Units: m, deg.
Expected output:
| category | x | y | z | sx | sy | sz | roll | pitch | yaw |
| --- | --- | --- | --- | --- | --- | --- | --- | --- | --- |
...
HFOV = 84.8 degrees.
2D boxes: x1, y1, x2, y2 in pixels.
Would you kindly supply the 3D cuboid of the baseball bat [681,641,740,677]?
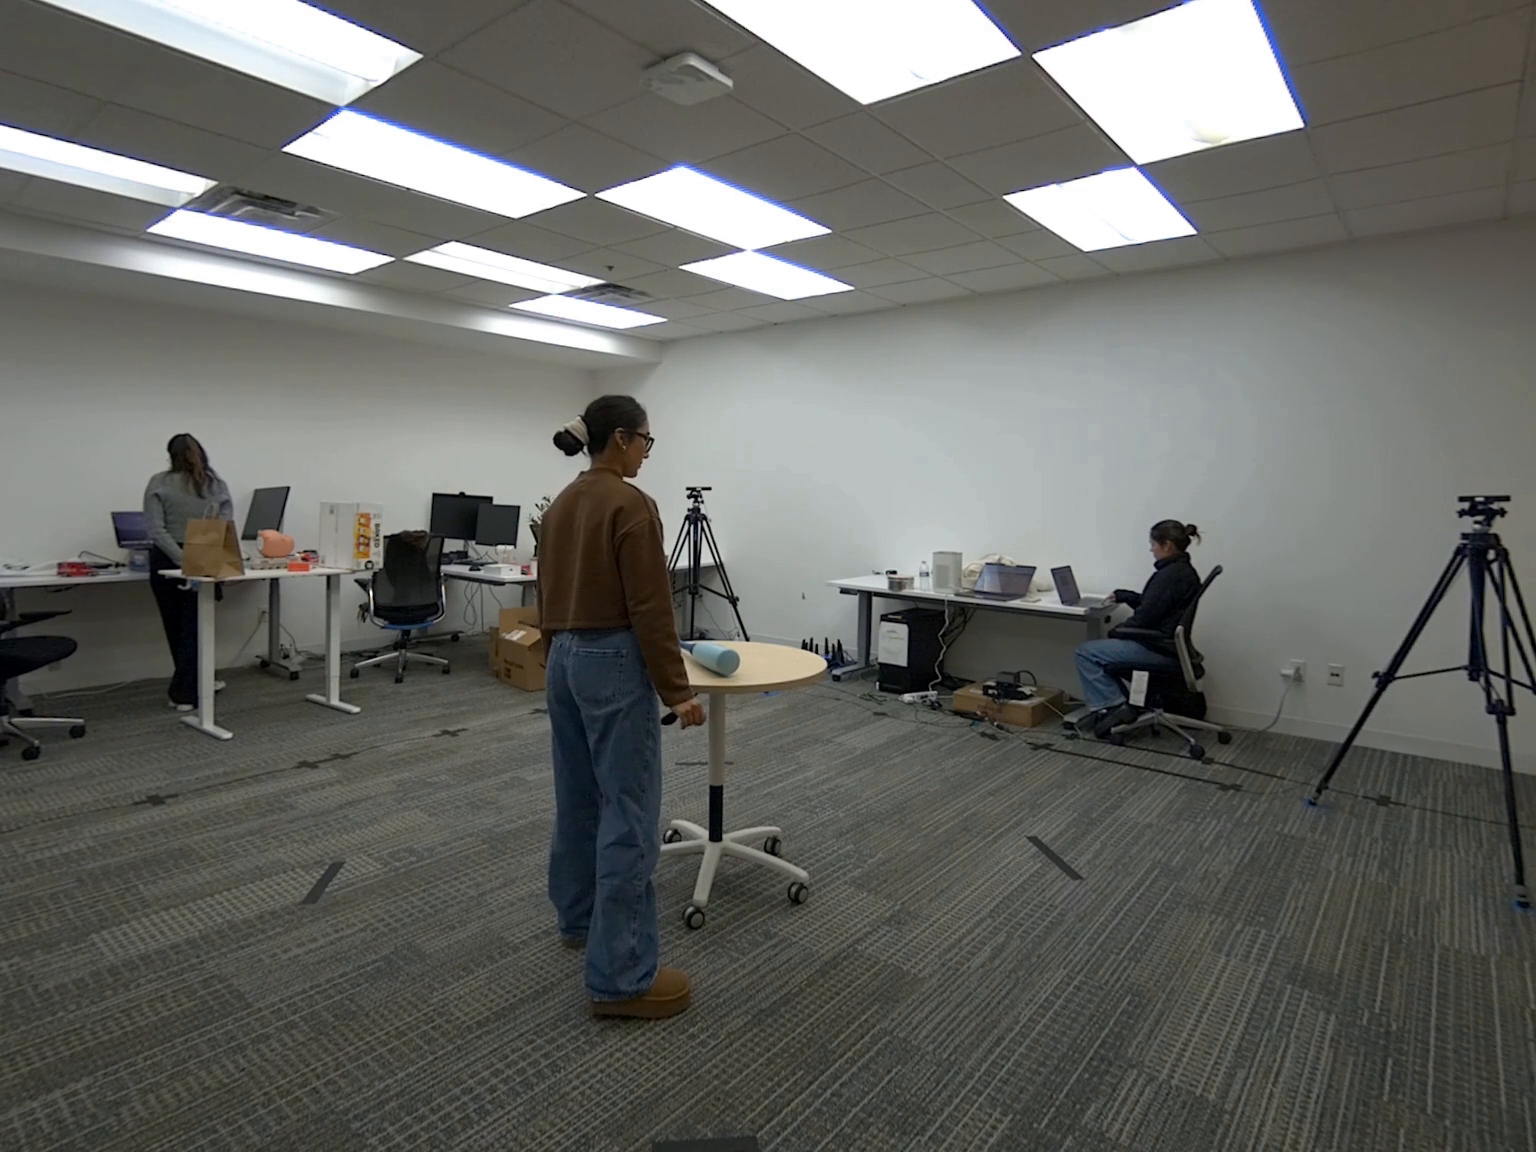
| category | x | y | z | sx | sy | sz | roll | pitch | yaw |
| --- | --- | --- | --- | --- | --- | --- | --- | --- | --- |
| baseball bat | -0.251 | 0.262 | 2.956 | 0.087 | 0.089 | 0.556 | -1 | 3 | -26 |
